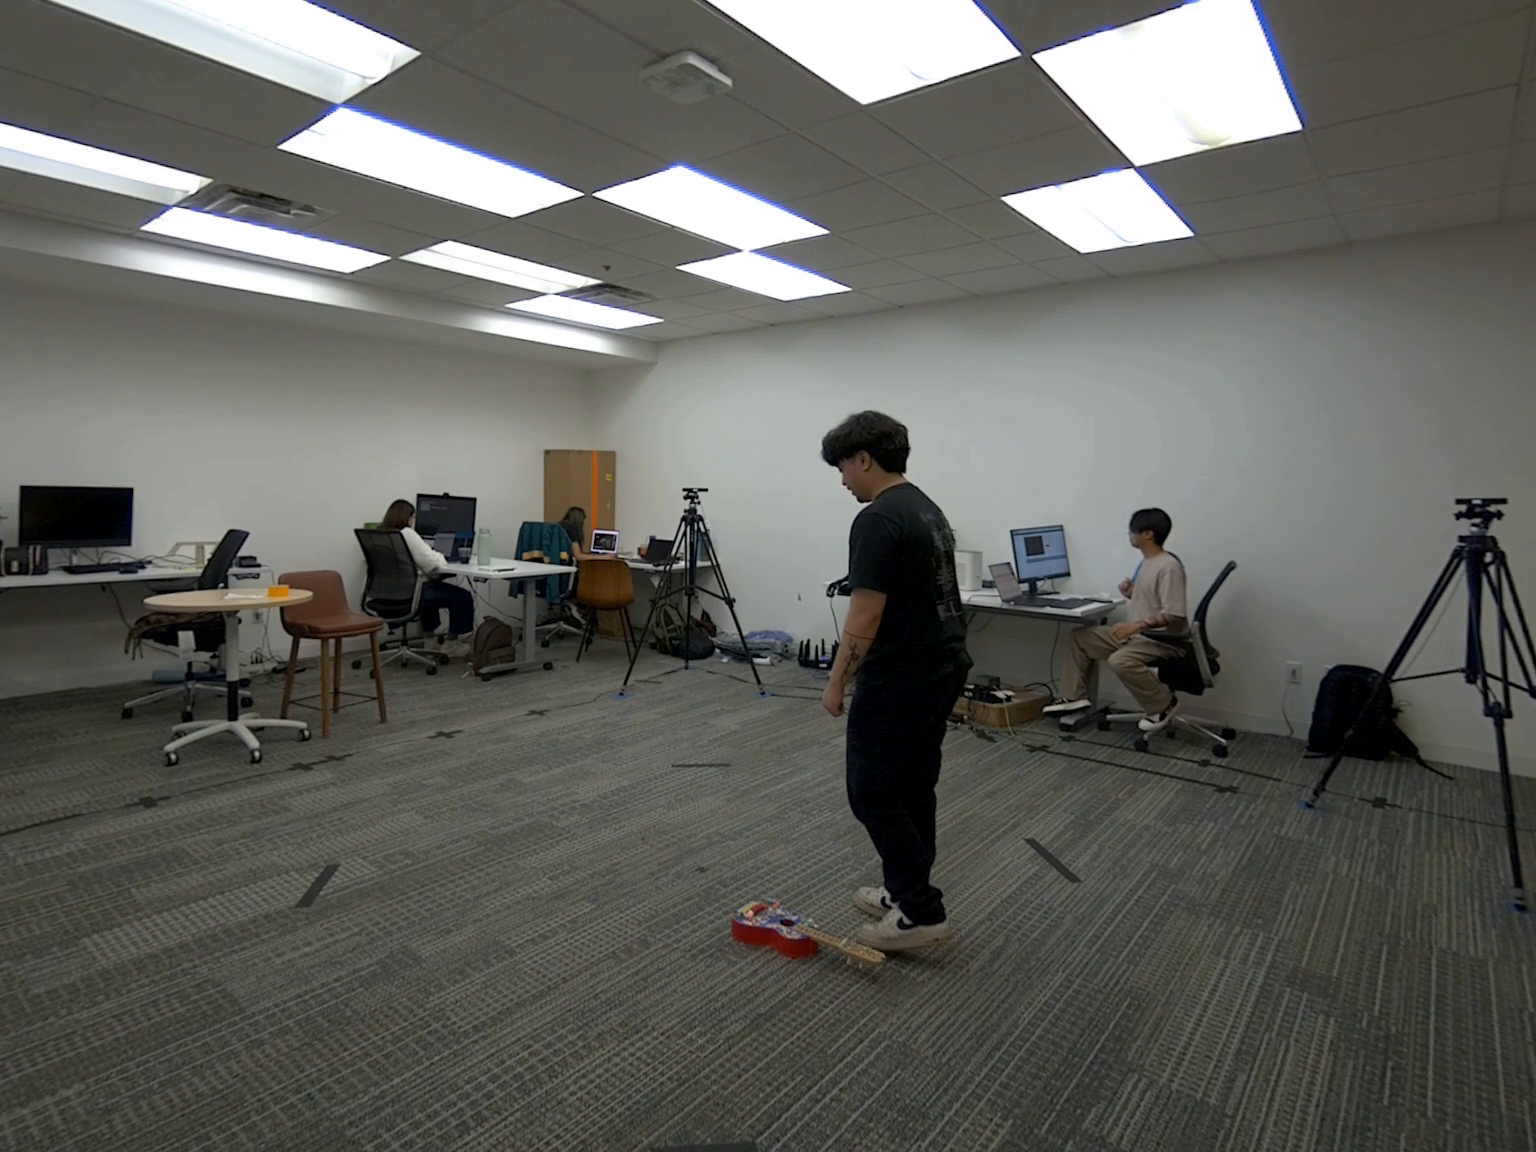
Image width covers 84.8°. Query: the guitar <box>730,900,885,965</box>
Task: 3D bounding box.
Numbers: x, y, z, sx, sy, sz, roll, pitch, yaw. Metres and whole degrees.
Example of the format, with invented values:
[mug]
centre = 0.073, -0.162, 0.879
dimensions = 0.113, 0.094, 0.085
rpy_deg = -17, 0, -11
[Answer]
[guitar]
centre = 0.098, 1.099, 2.553
dimensions = 0.515, 0.070, 0.187
rpy_deg = 7, 7, 44
